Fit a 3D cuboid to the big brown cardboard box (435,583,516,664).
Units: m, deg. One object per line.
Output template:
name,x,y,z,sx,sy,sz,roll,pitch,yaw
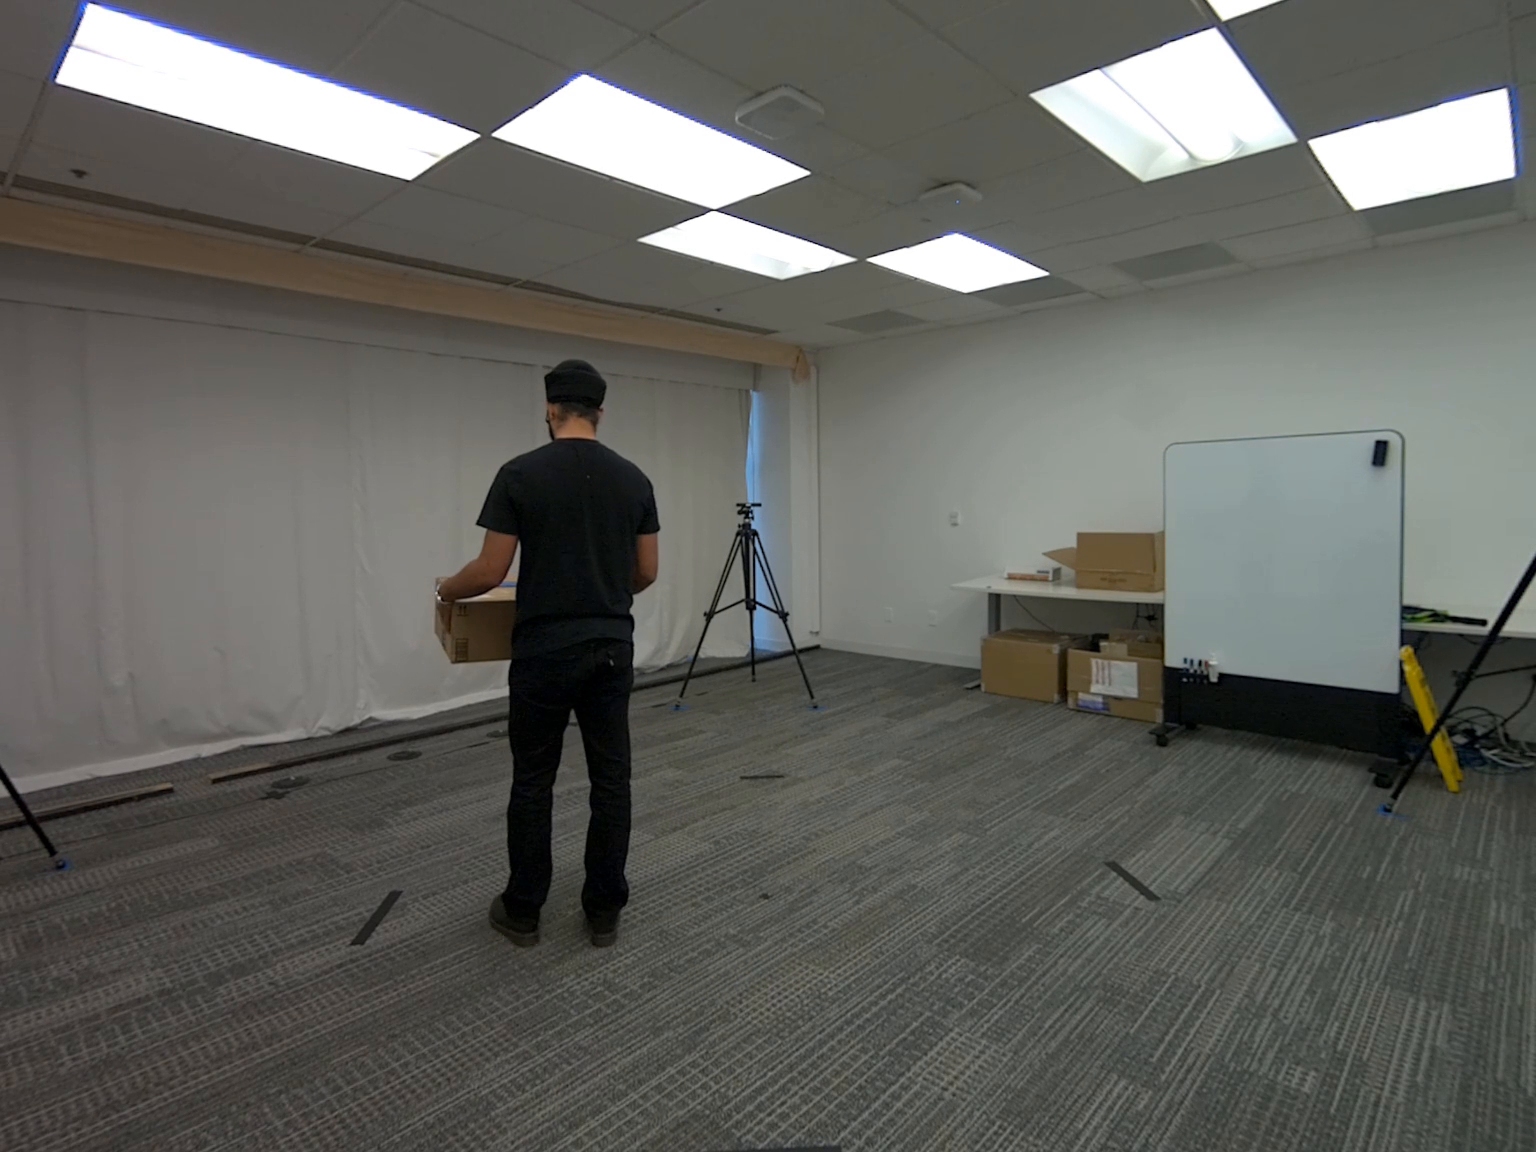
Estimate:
big brown cardboard box,-0.894,0.141,3.068,0.574,0.232,0.431,-1,11,-28
